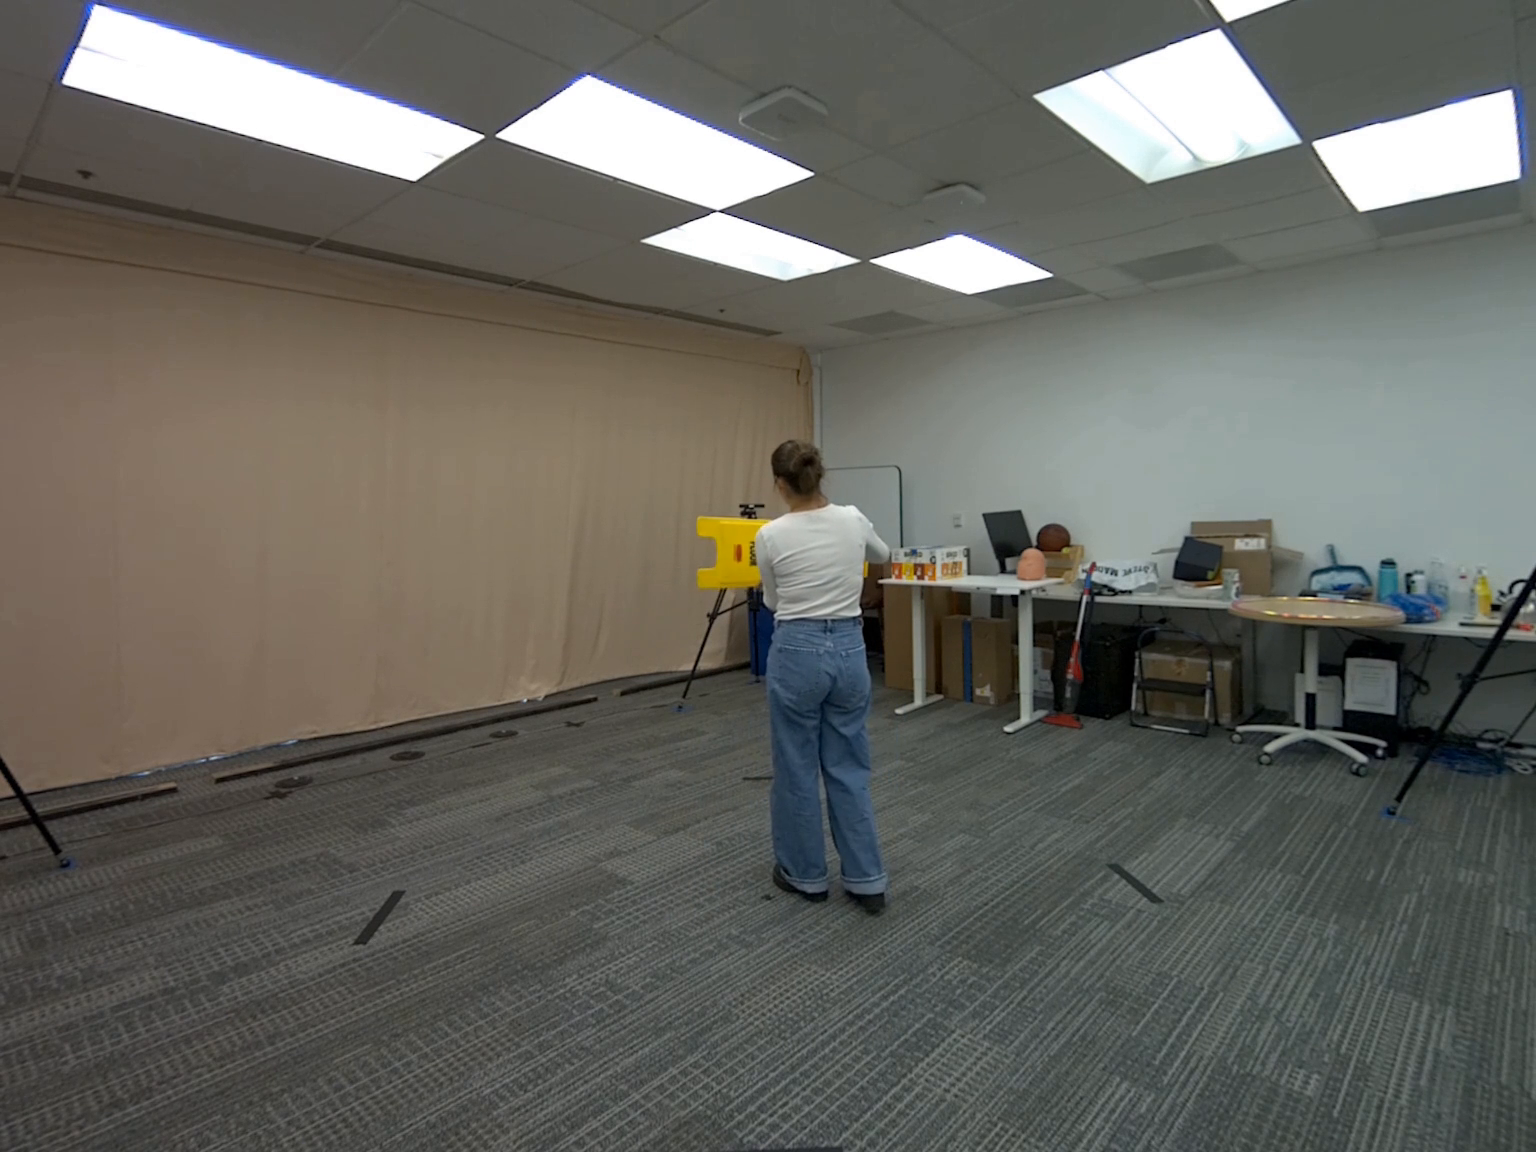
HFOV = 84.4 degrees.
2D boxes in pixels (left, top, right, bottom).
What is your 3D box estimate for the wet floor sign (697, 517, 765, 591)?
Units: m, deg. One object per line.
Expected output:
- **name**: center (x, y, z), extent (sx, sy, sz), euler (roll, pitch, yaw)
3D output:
- **wet floor sign**: center (0.068, -0.087, 3.334), extent (0.655, 0.282, 0.286), euler (0, 1, 12)
